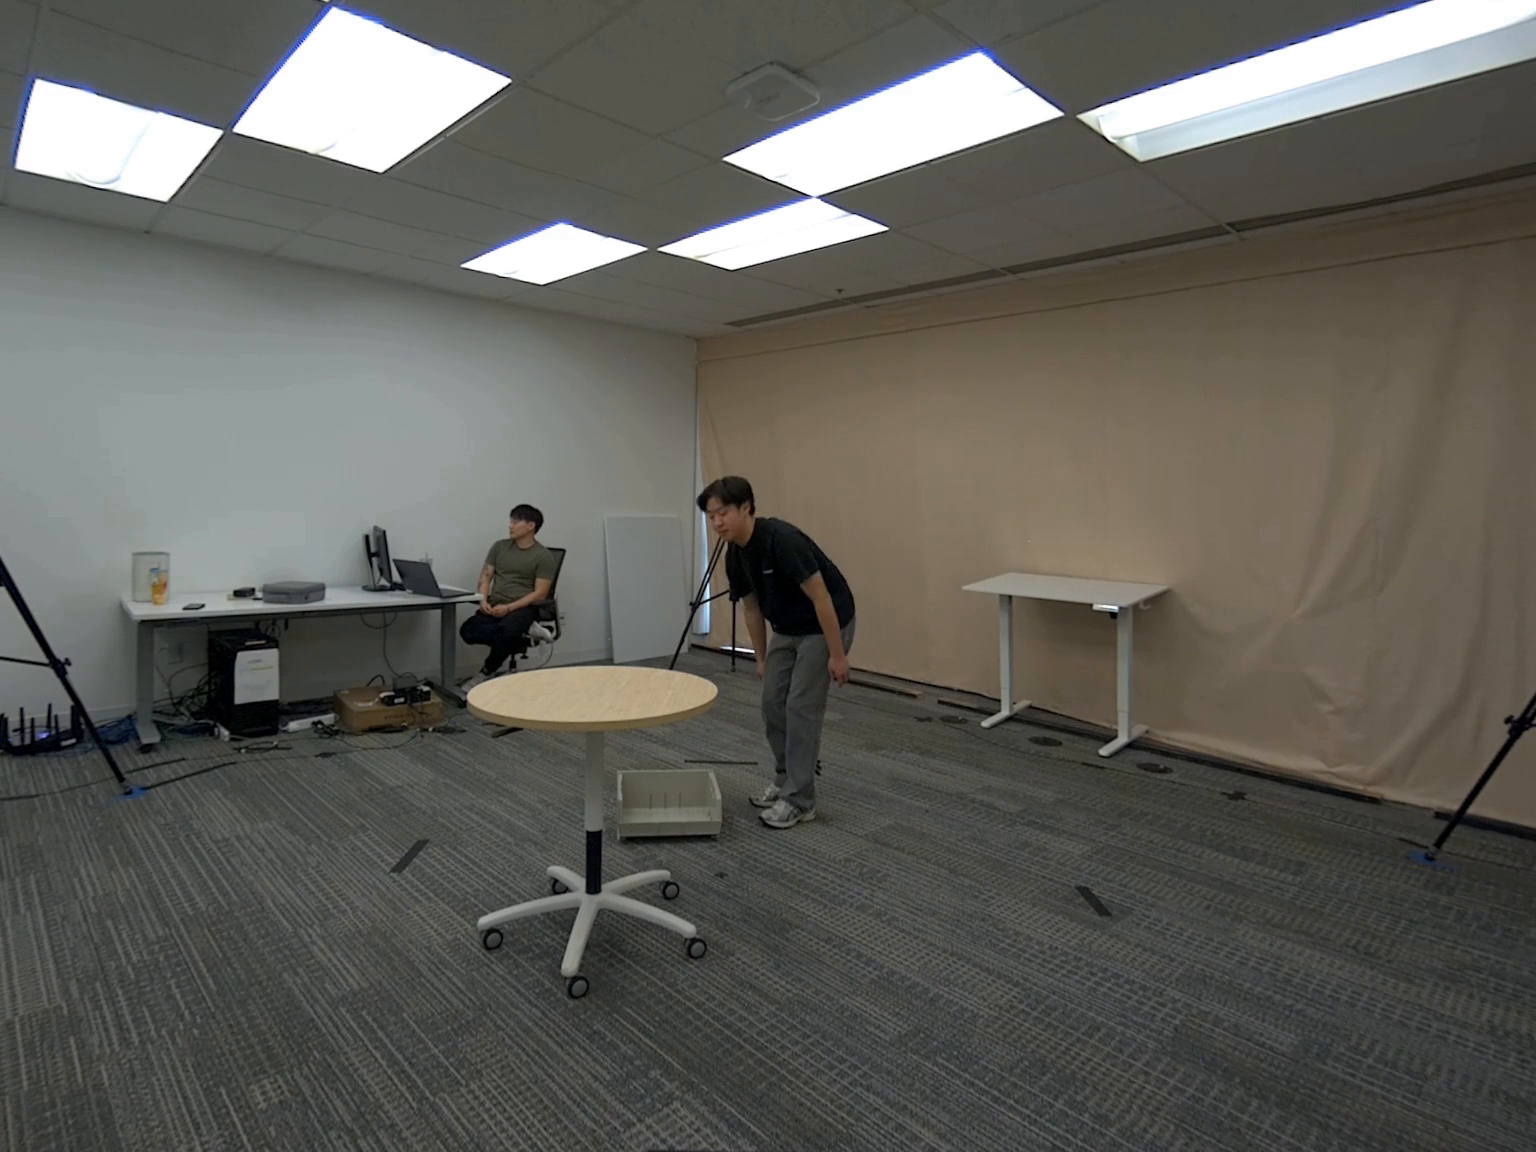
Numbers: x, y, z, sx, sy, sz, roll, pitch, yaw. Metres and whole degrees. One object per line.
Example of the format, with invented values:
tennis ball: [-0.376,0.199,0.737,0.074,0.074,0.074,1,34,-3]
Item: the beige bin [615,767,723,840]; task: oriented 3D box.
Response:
beige bin: [-0.433,0.972,3.554,0.419,0.188,0.381,0,4,-9]
